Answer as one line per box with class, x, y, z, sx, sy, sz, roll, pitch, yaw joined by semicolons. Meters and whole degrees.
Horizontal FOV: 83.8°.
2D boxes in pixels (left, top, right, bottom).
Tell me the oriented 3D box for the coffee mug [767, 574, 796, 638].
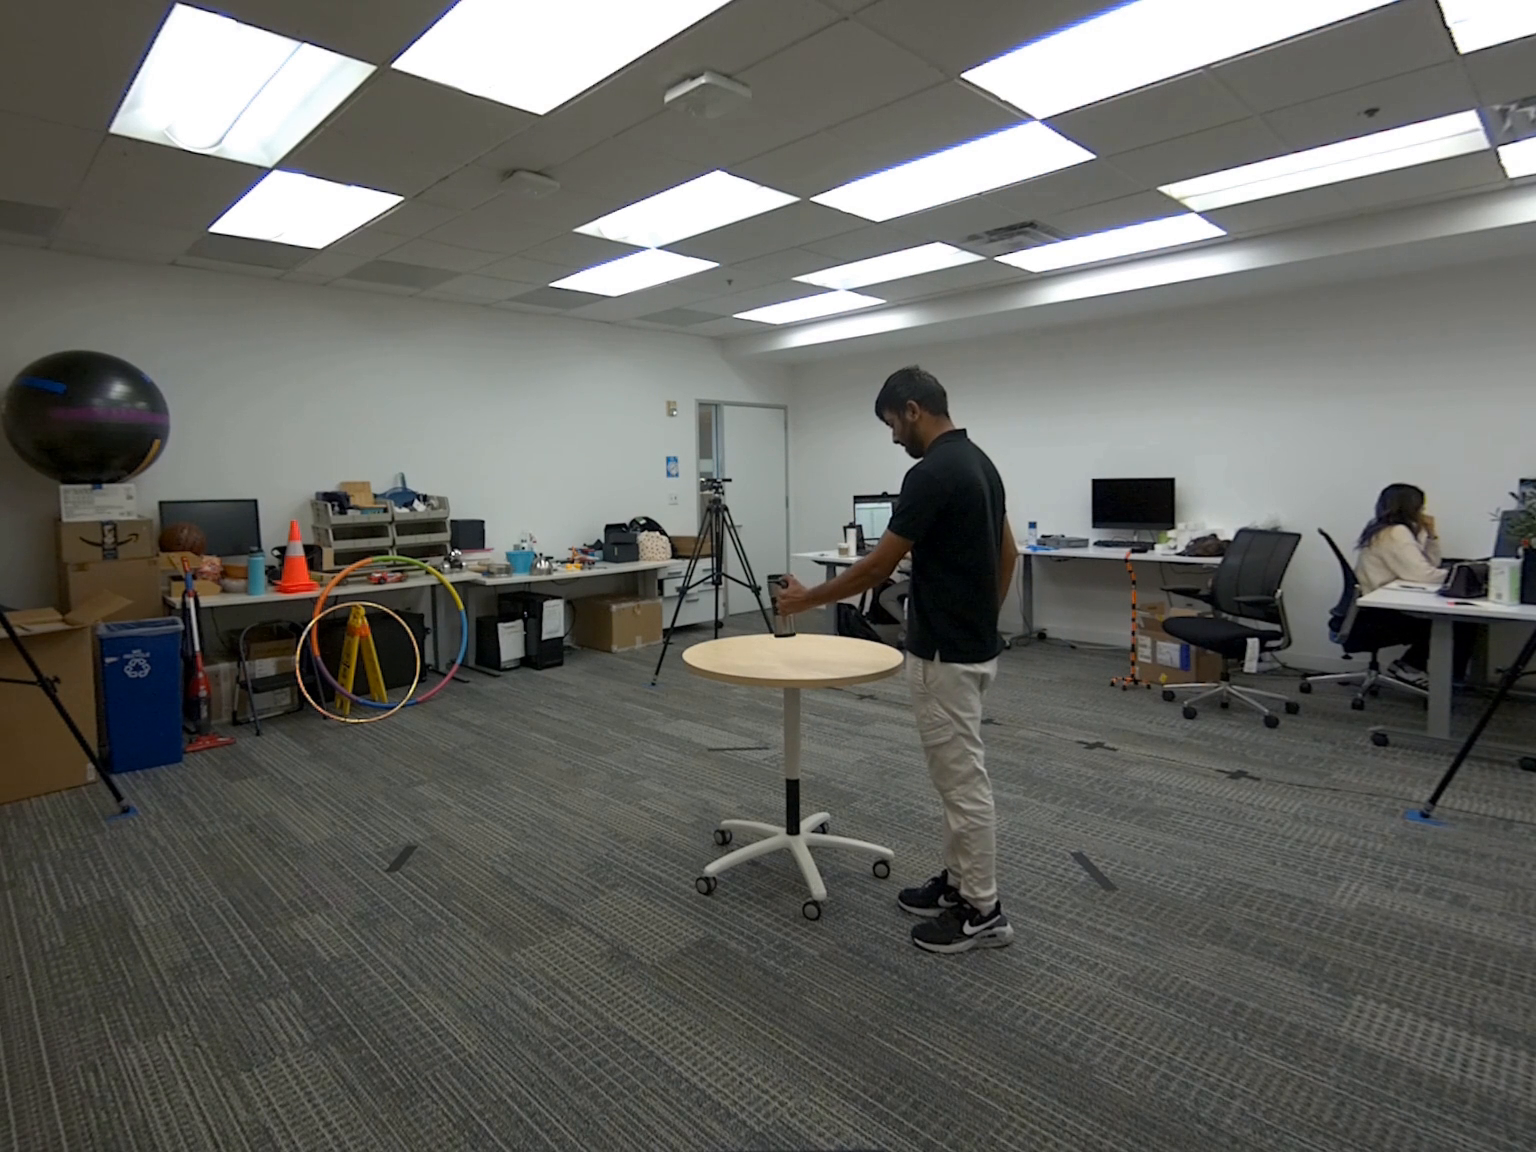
coffee mug;0.049;0.105;2.751;0.089;0.204;0.119;-2;-3;19
